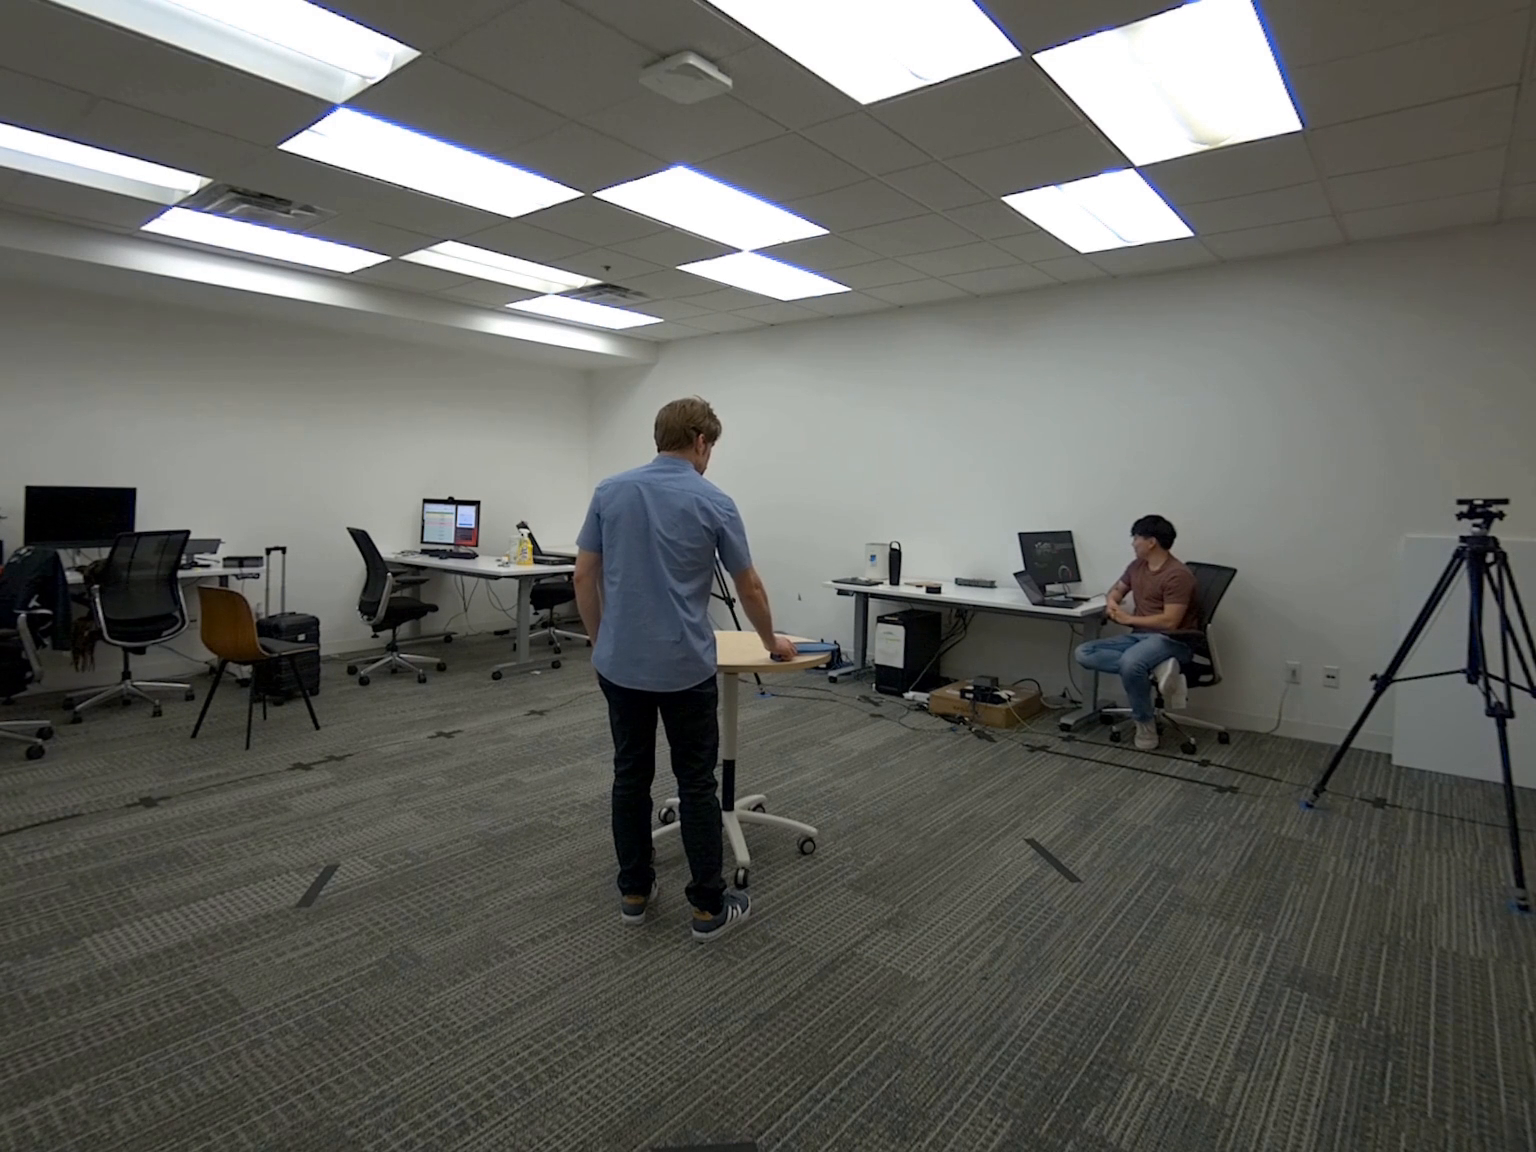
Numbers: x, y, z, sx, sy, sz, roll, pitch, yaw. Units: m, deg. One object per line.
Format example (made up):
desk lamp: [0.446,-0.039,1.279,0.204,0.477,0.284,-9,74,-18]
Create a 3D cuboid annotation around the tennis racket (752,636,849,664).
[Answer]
tennis racket: [0.130,0.274,3.180,0.219,0.032,0.423,1,3,25]
